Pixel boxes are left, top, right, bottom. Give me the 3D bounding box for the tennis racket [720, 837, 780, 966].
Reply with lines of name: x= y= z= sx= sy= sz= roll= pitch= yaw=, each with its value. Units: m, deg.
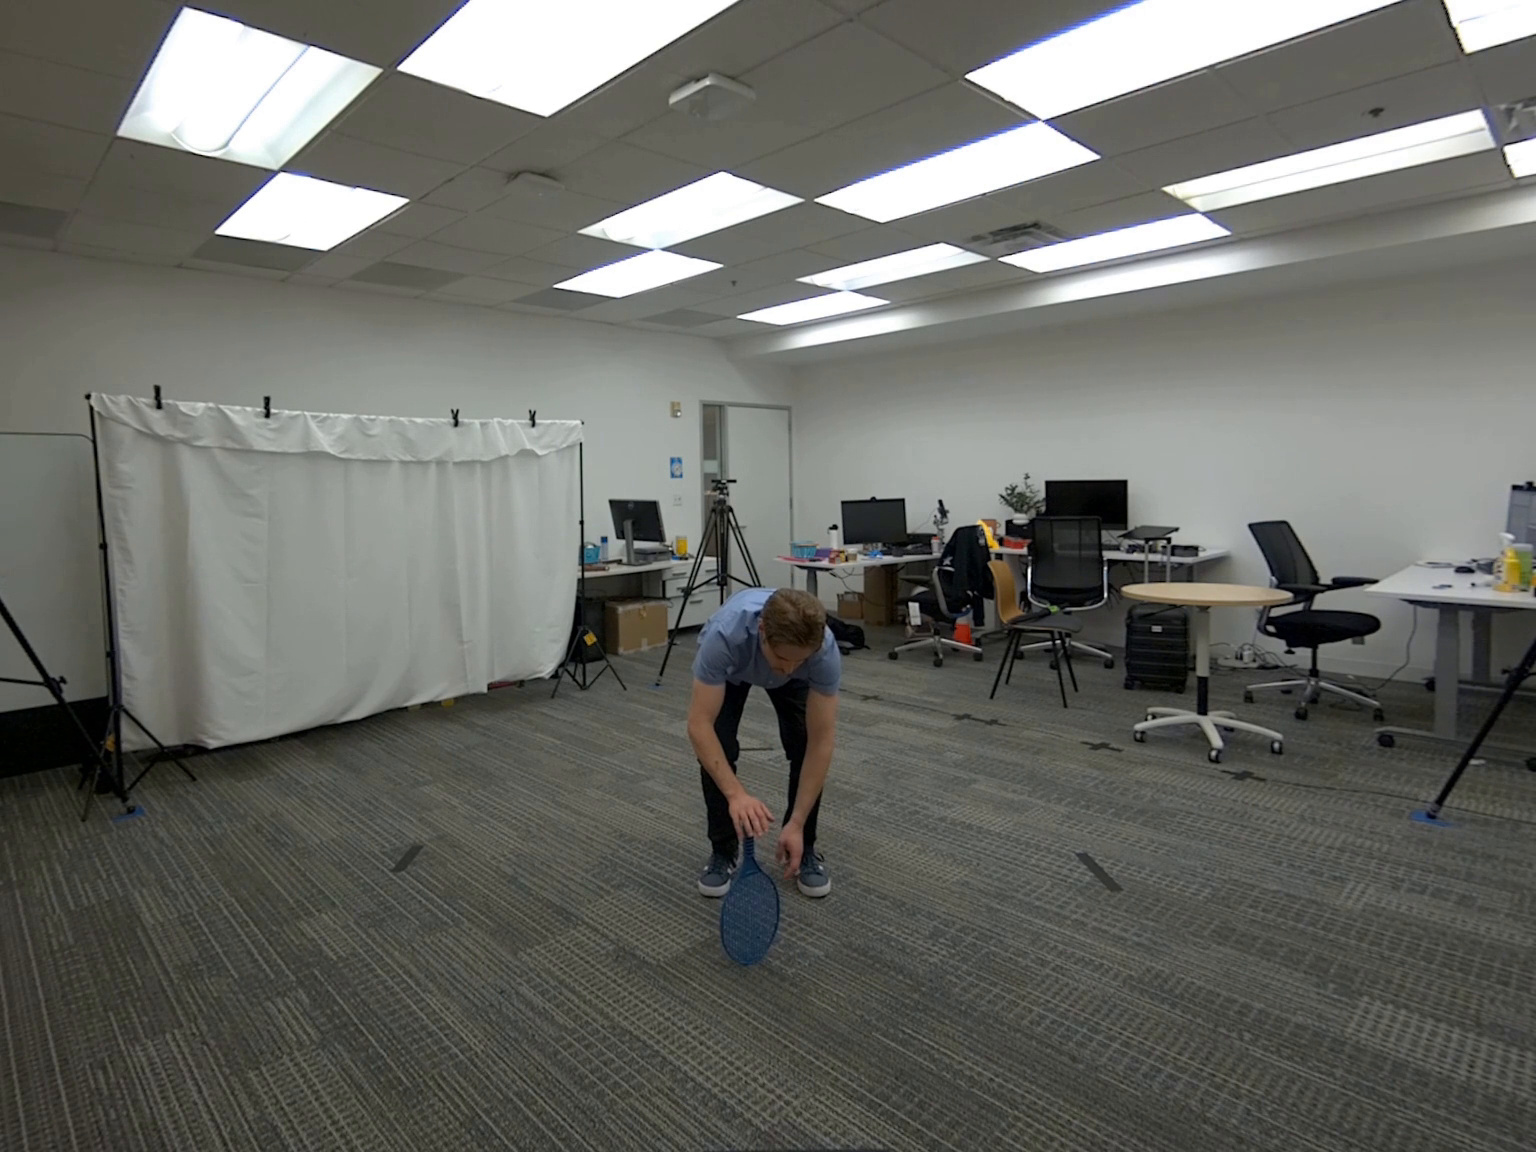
tennis racket: x=-0.046 y=0.906 z=2.476 sx=0.208 sy=0.432 sz=0.032 roll=-2 pitch=1 yaw=-33
